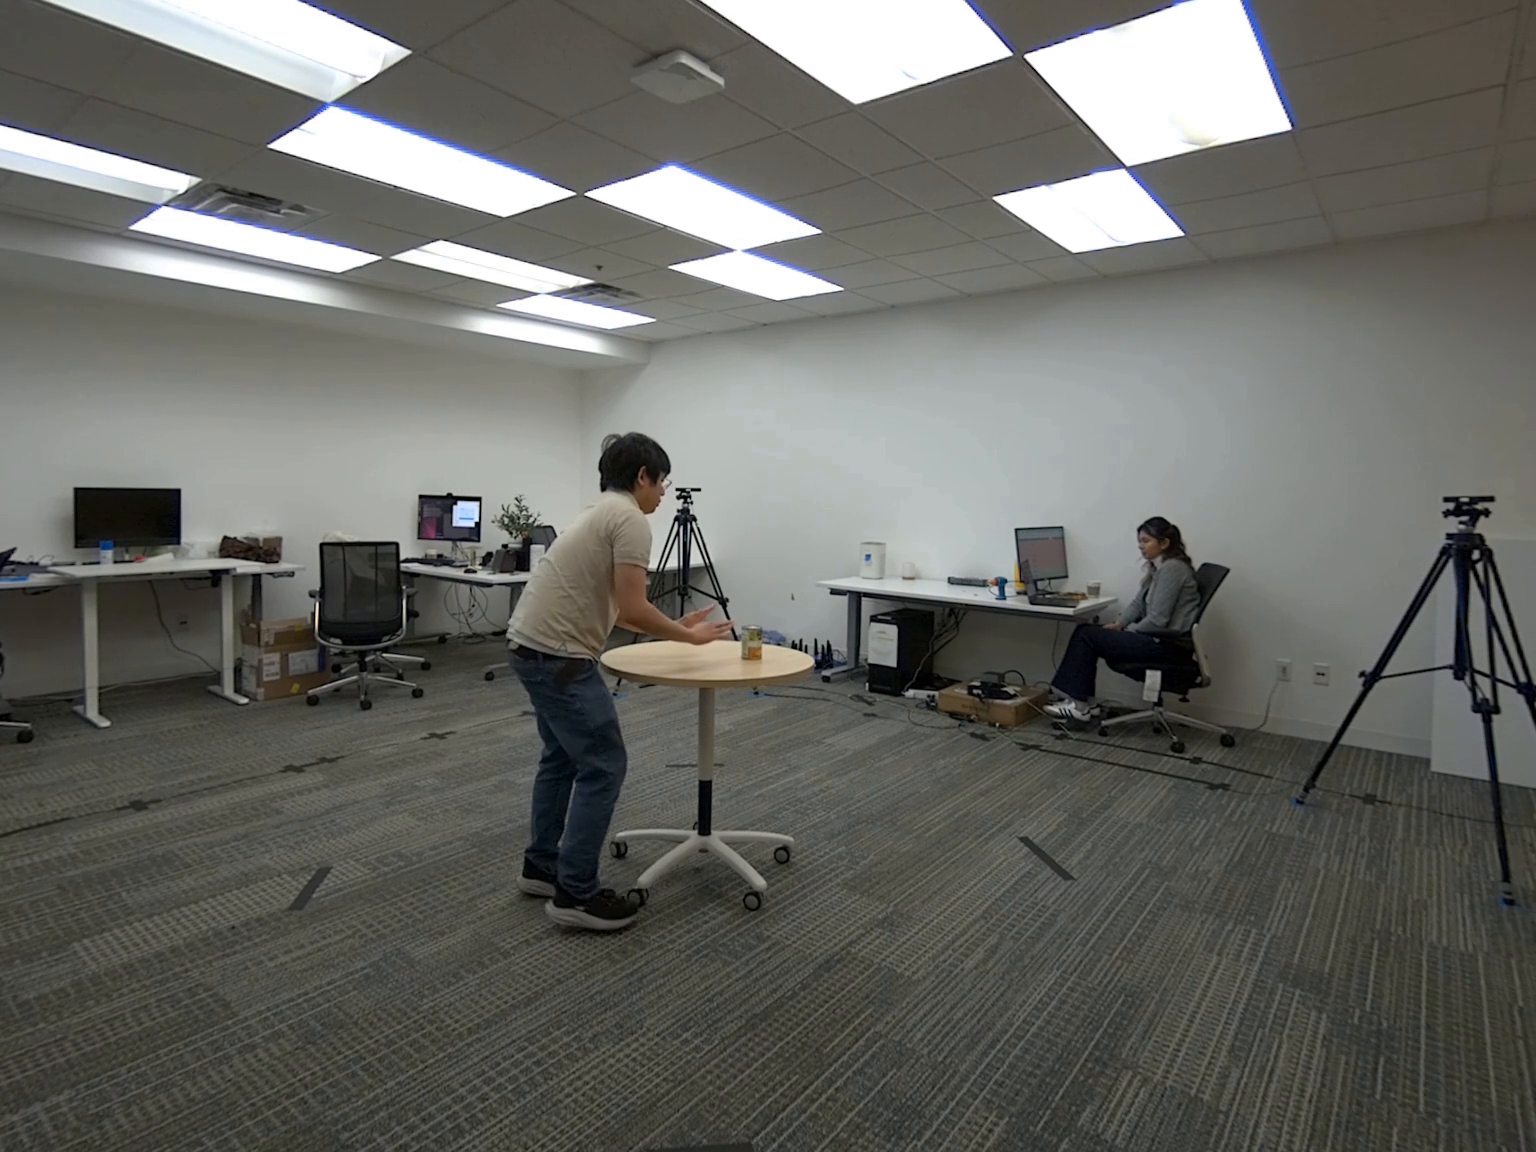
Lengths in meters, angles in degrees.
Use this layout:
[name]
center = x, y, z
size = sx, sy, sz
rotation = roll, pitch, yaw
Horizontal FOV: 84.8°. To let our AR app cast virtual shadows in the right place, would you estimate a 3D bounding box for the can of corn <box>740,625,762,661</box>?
[can of corn]
center = -0.076, 0.236, 3.057
size = 0.074, 0.110, 0.075
rotation = 1, 6, -2
